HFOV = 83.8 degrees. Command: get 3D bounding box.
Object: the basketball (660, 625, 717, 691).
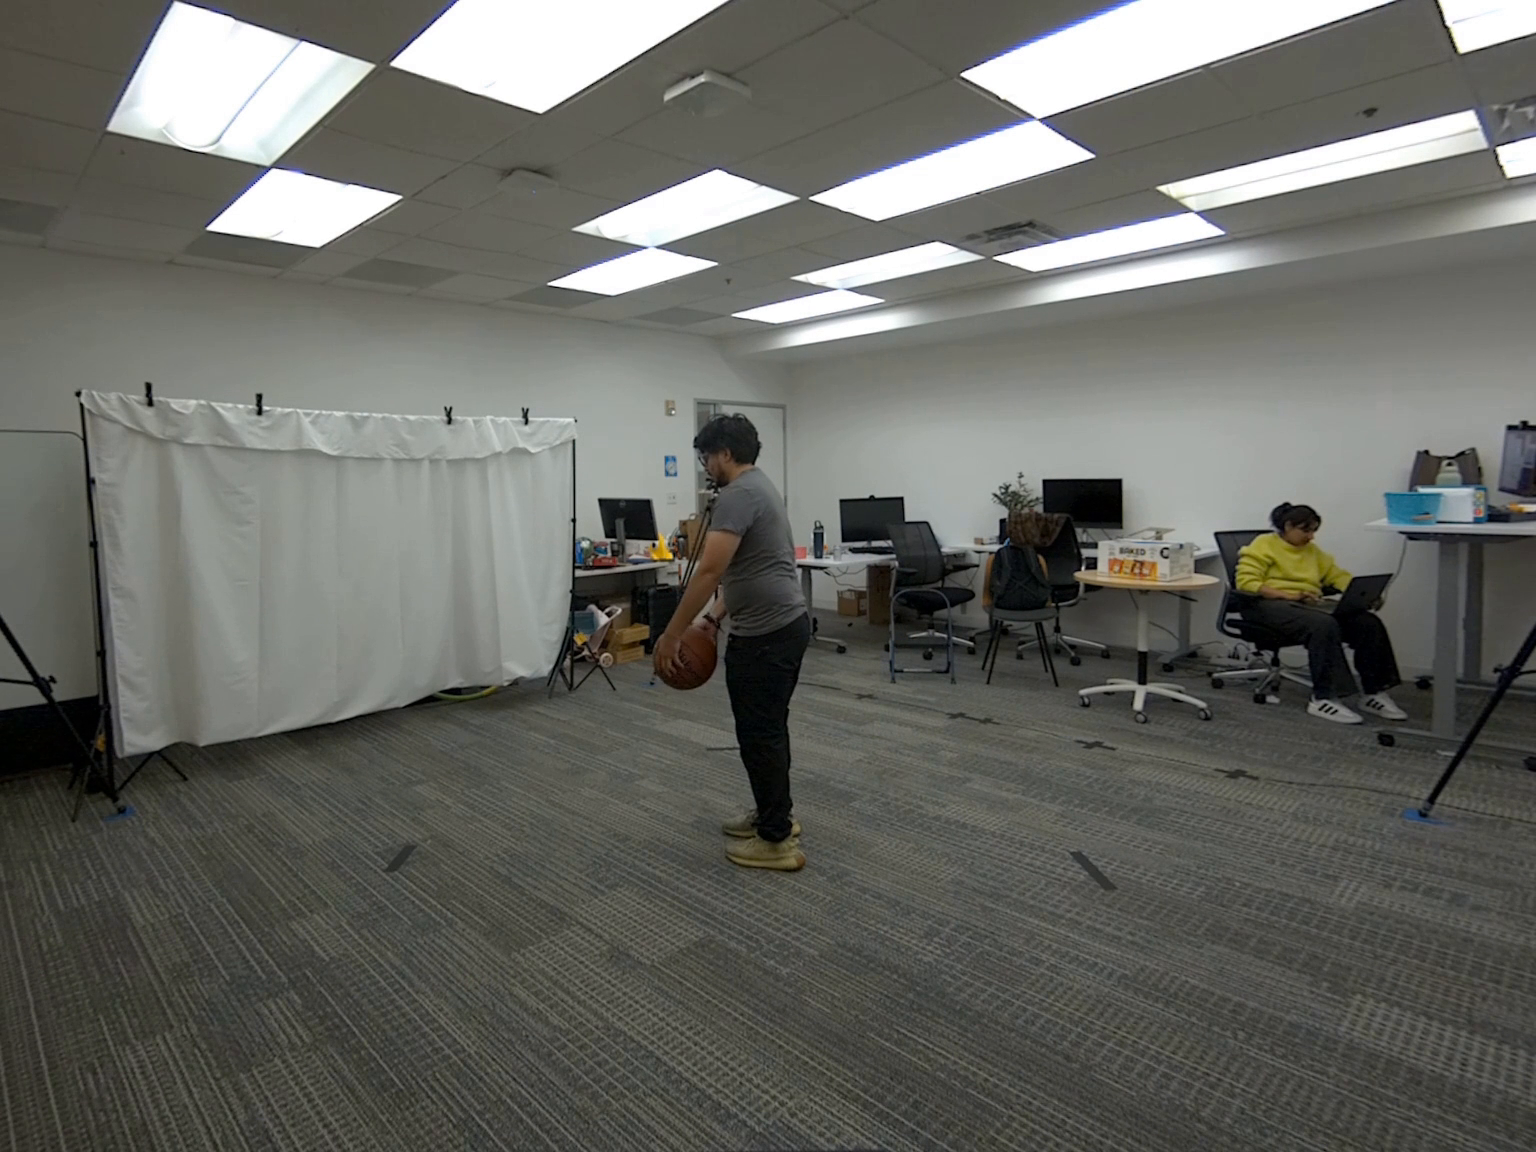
[{"bbox_3d":[-0.304,0.292,3.149,0.236,0.235,0.237,-1,5,-2],"label":"basketball"}]
